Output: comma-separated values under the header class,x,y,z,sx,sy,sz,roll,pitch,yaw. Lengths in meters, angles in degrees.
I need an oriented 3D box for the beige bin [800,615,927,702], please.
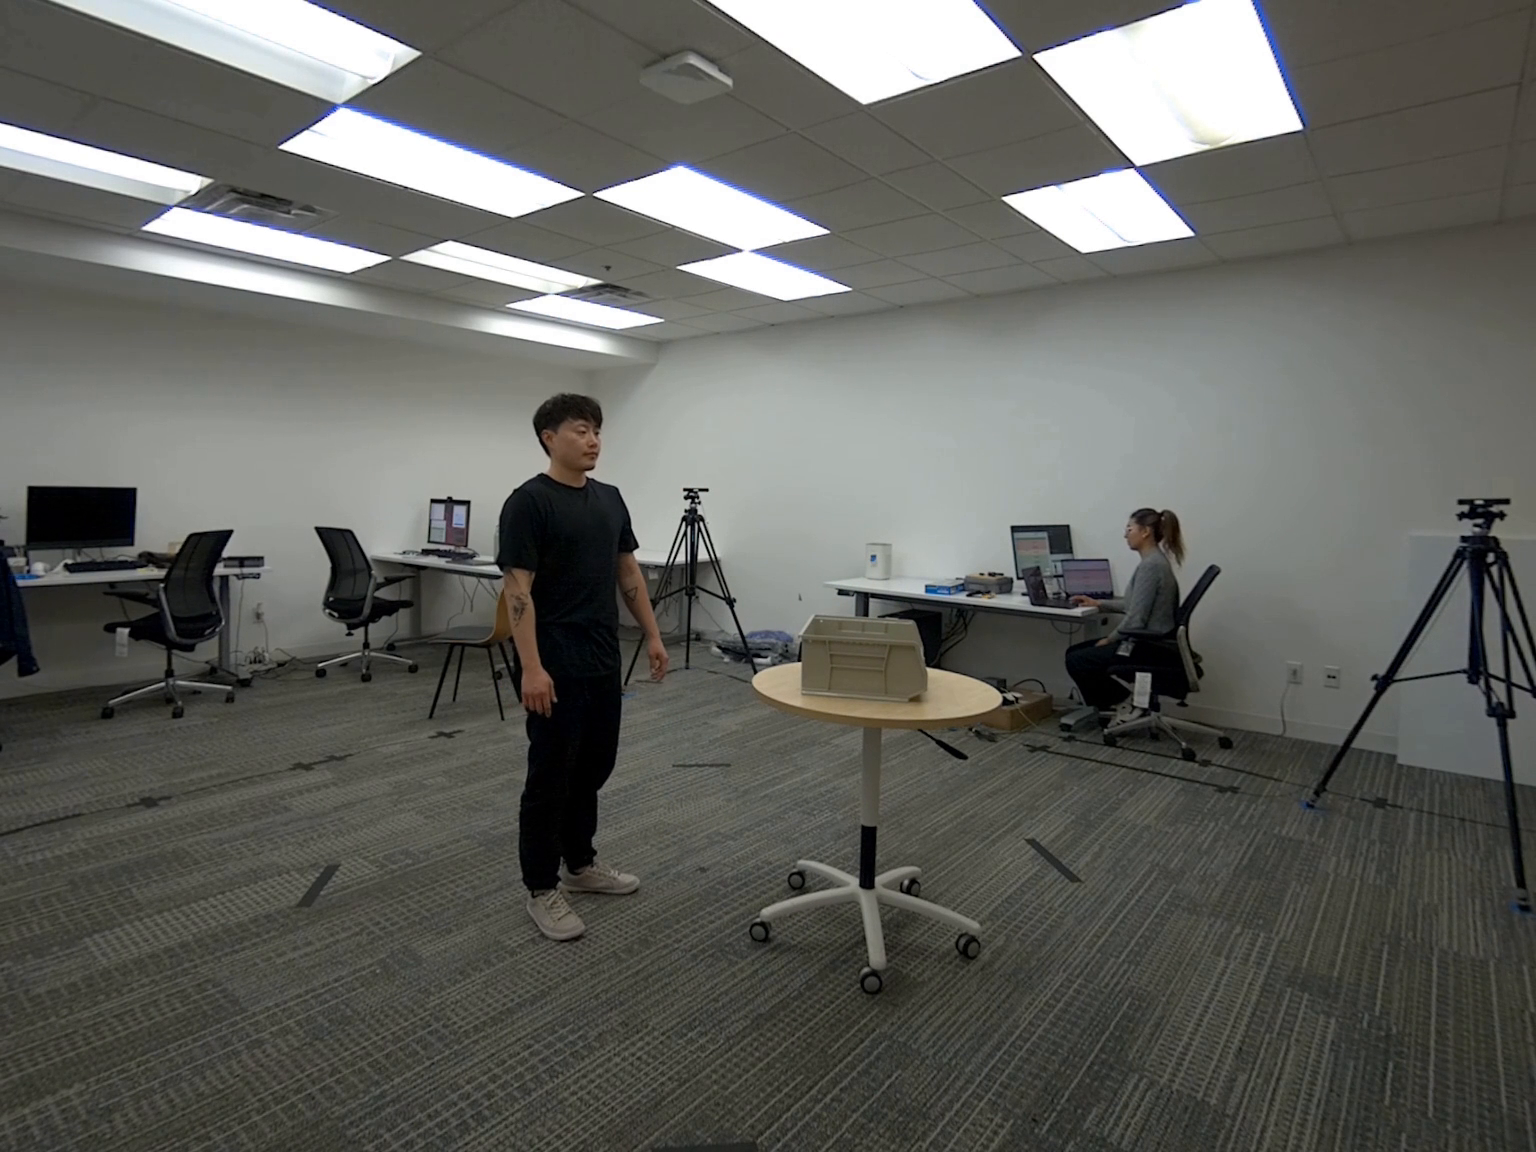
class,x,y,z,sx,sy,sz,roll,pitch,yaw
beige bin,0.298,0.255,2.681,0.382,0.188,0.419,2,6,9
